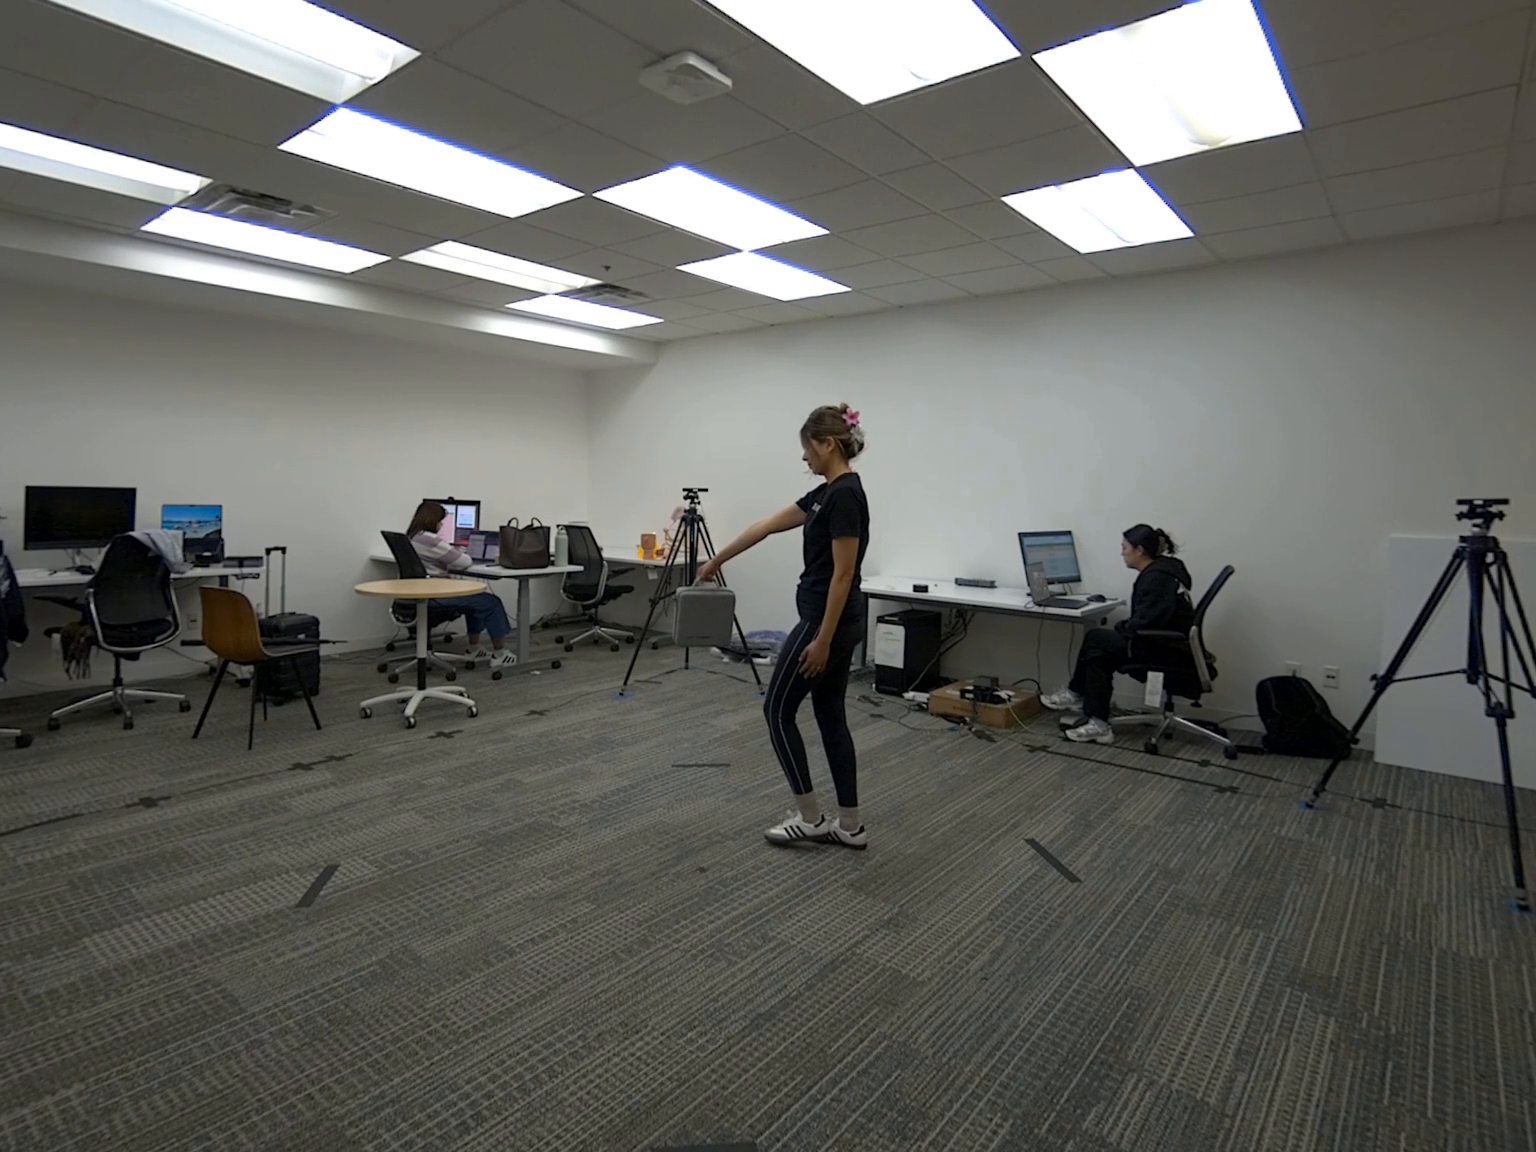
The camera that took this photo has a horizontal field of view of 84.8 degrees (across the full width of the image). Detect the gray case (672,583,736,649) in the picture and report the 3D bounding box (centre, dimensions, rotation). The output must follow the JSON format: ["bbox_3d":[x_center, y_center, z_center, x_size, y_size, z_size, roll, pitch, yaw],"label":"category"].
[{"bbox_3d":[-0.293,0.171,3.654,0.253,0.258,0.107,3,13,-15],"label":"gray case"}]
